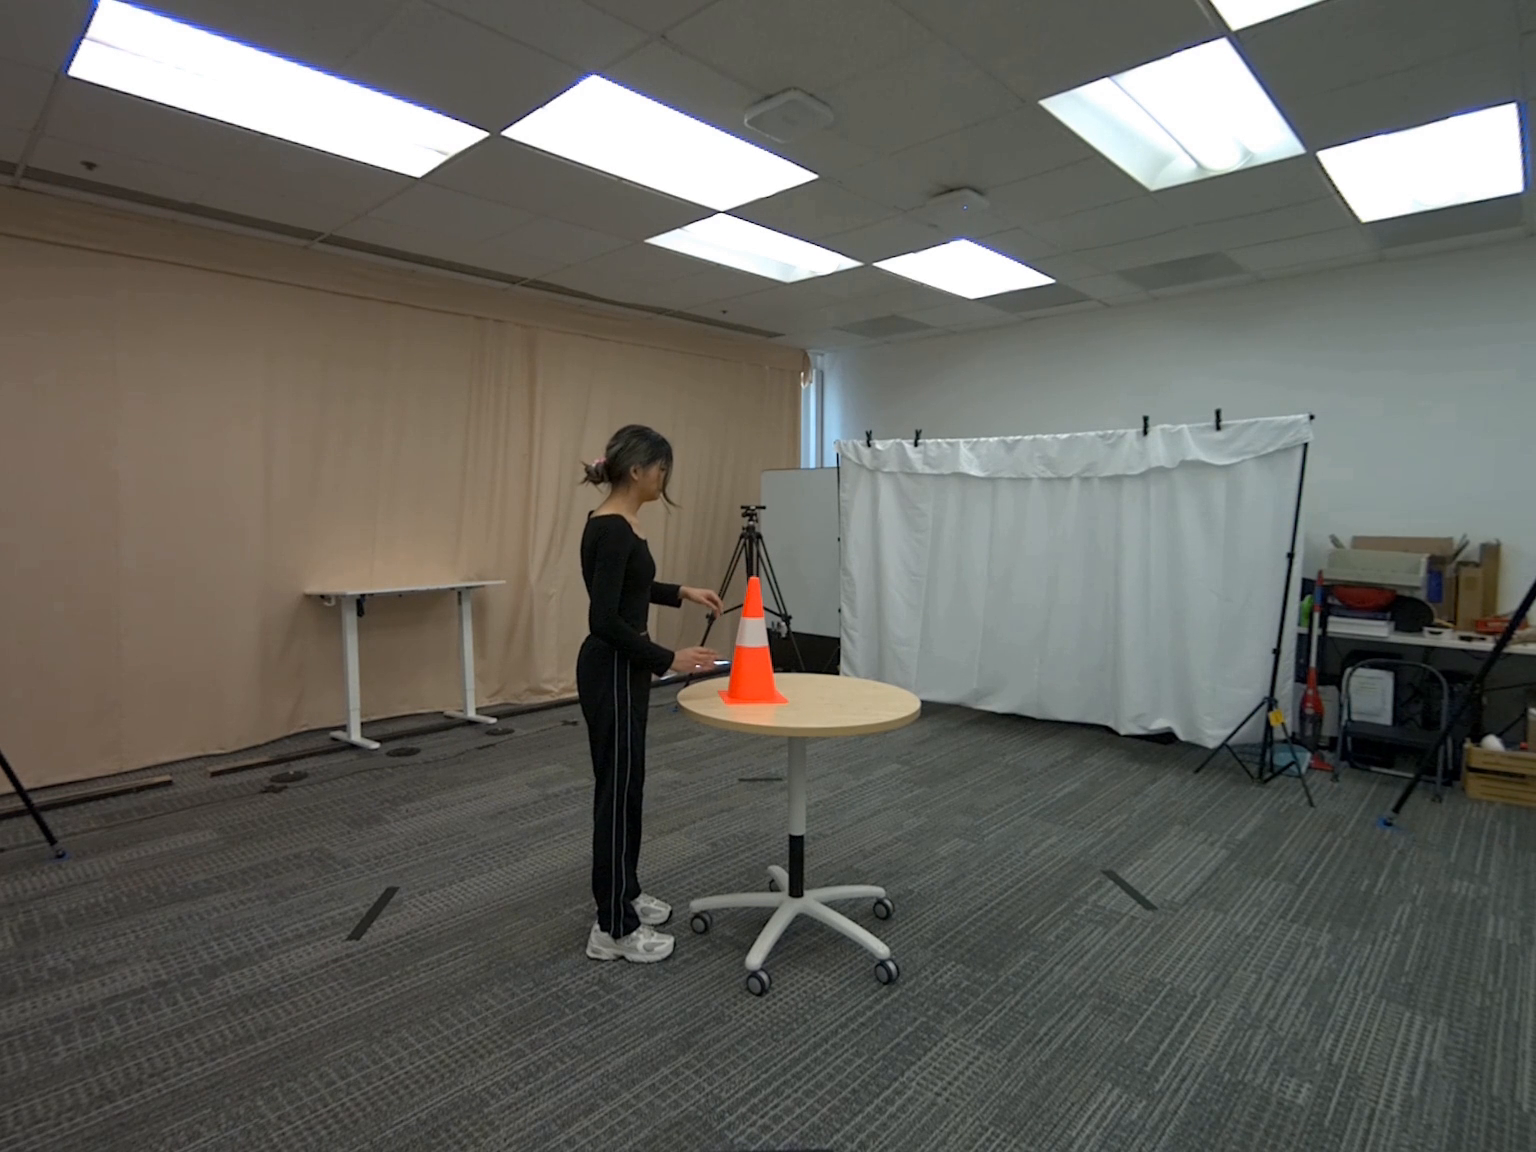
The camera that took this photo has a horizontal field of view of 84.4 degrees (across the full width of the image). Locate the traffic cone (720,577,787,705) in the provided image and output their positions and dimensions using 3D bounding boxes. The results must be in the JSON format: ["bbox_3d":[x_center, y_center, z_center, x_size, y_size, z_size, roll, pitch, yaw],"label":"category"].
[{"bbox_3d":[-0.049,0.199,2.655,0.201,0.383,0.208,-1,3,-11],"label":"traffic cone"}]
